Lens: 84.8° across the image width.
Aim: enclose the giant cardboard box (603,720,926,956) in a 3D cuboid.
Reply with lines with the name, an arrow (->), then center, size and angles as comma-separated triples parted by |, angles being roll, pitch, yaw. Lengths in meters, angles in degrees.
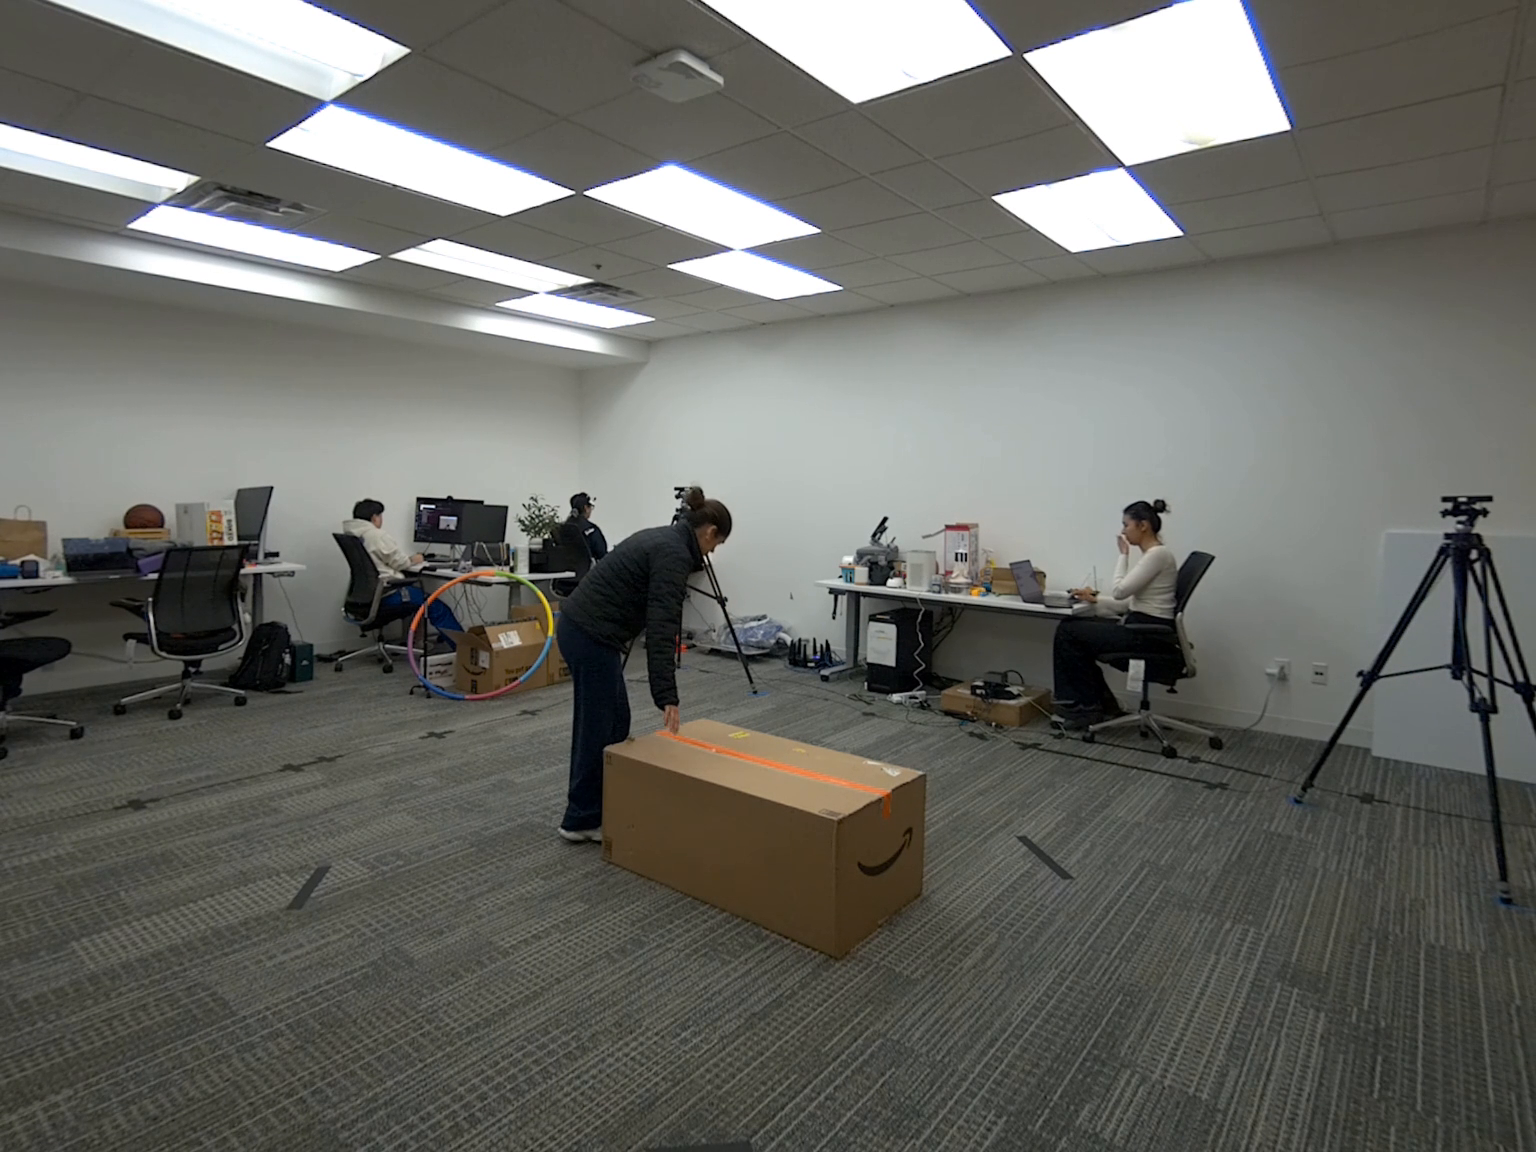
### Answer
giant cardboard box -> -0.022, 0.864, 3.059 | 1.062, 0.445, 0.567 | 6, 8, 38
